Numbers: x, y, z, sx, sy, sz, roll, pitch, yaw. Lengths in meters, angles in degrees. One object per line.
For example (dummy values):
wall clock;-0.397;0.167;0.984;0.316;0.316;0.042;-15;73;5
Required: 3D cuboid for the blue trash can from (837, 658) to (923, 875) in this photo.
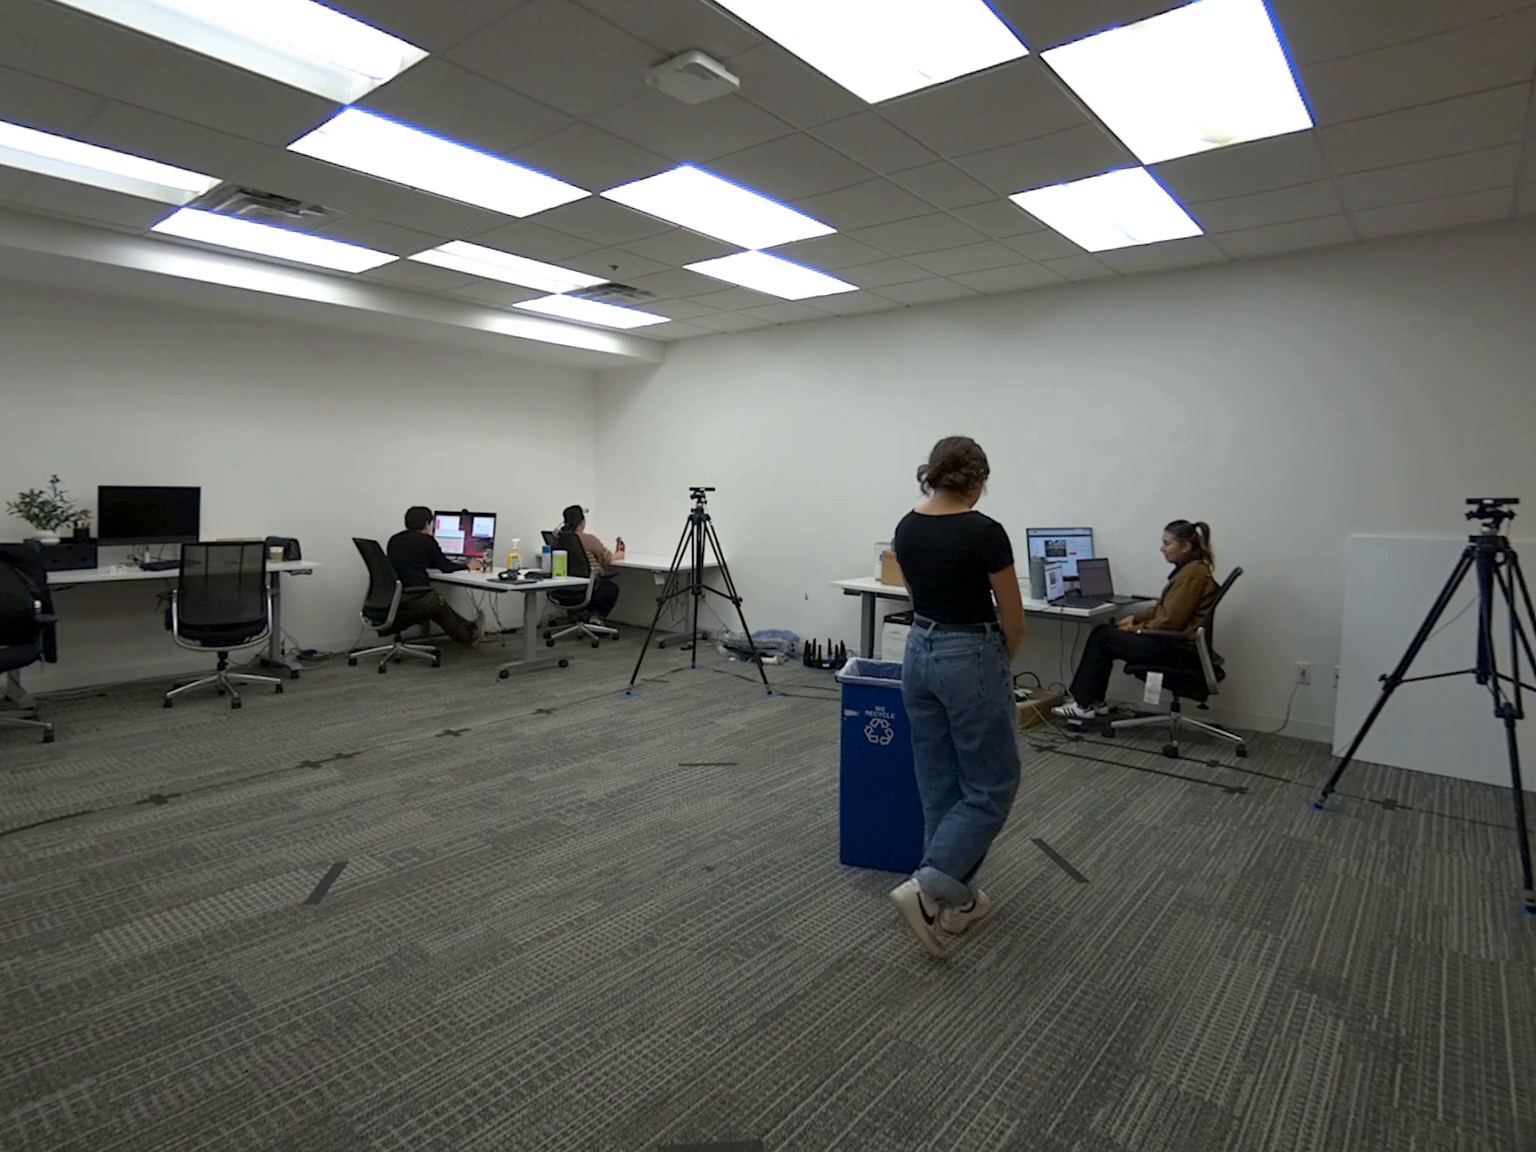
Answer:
blue trash can;0.455;0.710;3.253;0.380;0.711;0.373;2;4;15
